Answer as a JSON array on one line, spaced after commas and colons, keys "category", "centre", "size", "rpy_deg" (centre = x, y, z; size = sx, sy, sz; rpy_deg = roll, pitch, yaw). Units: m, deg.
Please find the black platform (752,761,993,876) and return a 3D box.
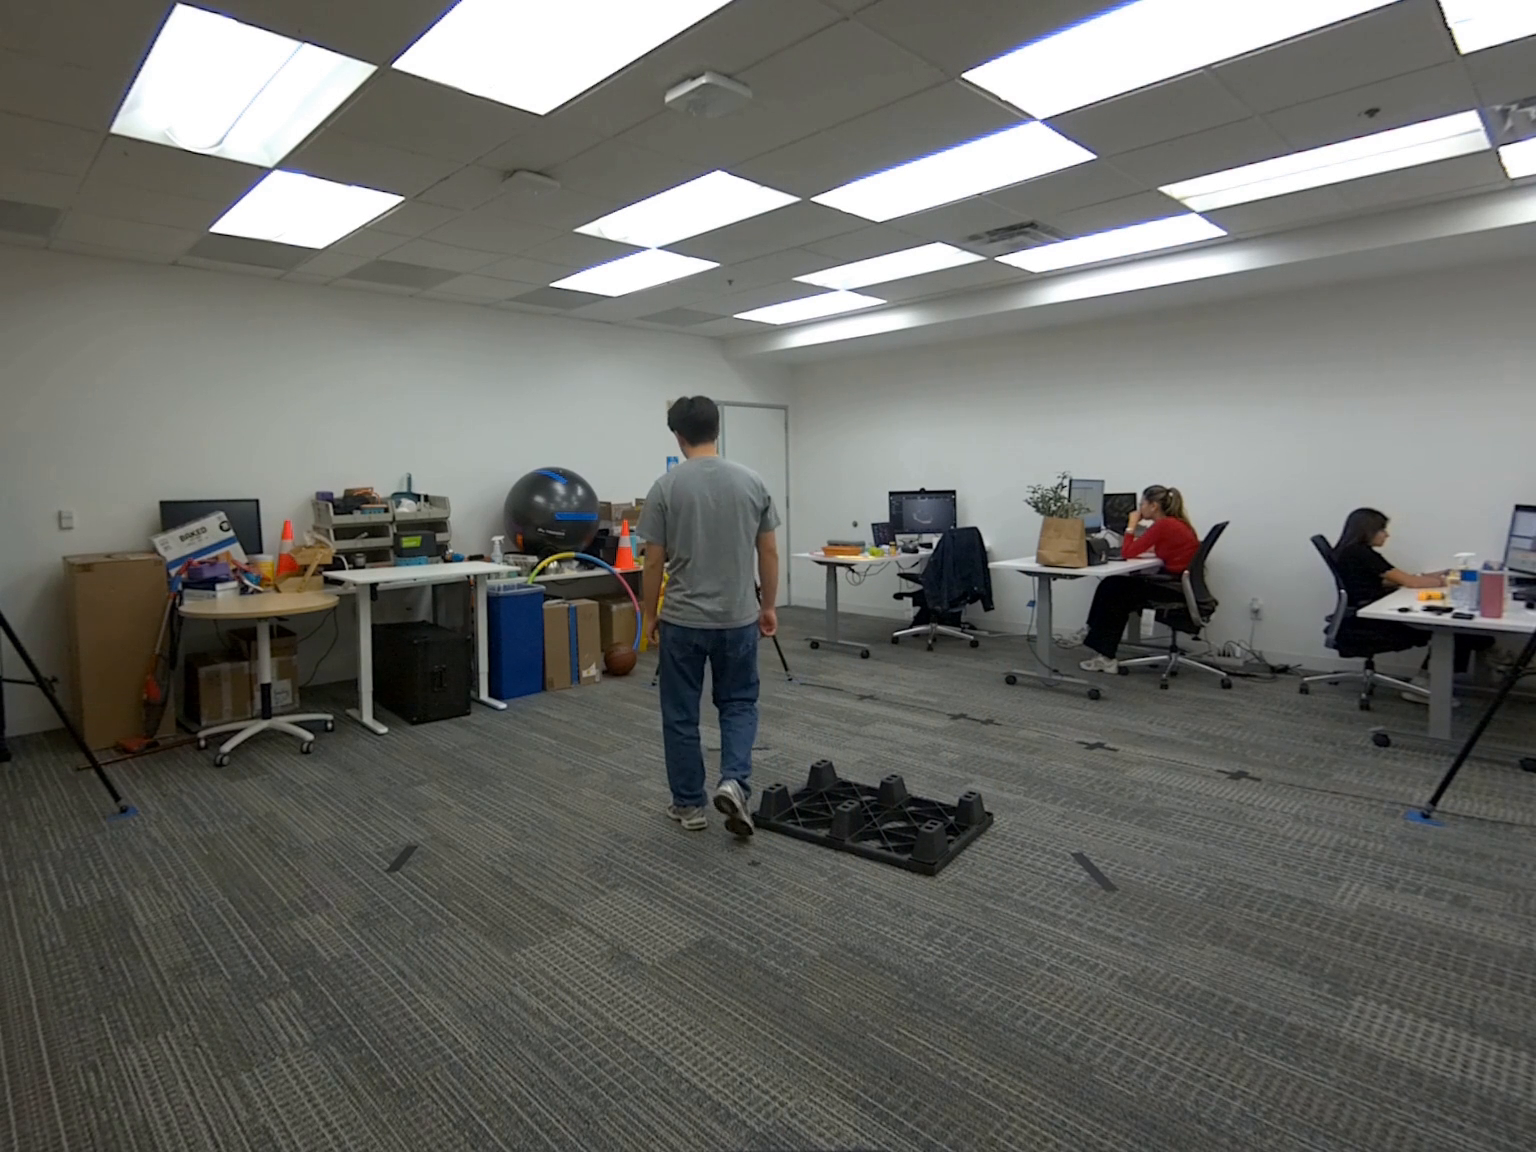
[{"category": "black platform", "centre": [0.421, 0.934, 3.442], "size": [0.829, 0.142, 0.590], "rpy_deg": [4, 8, 36]}]
